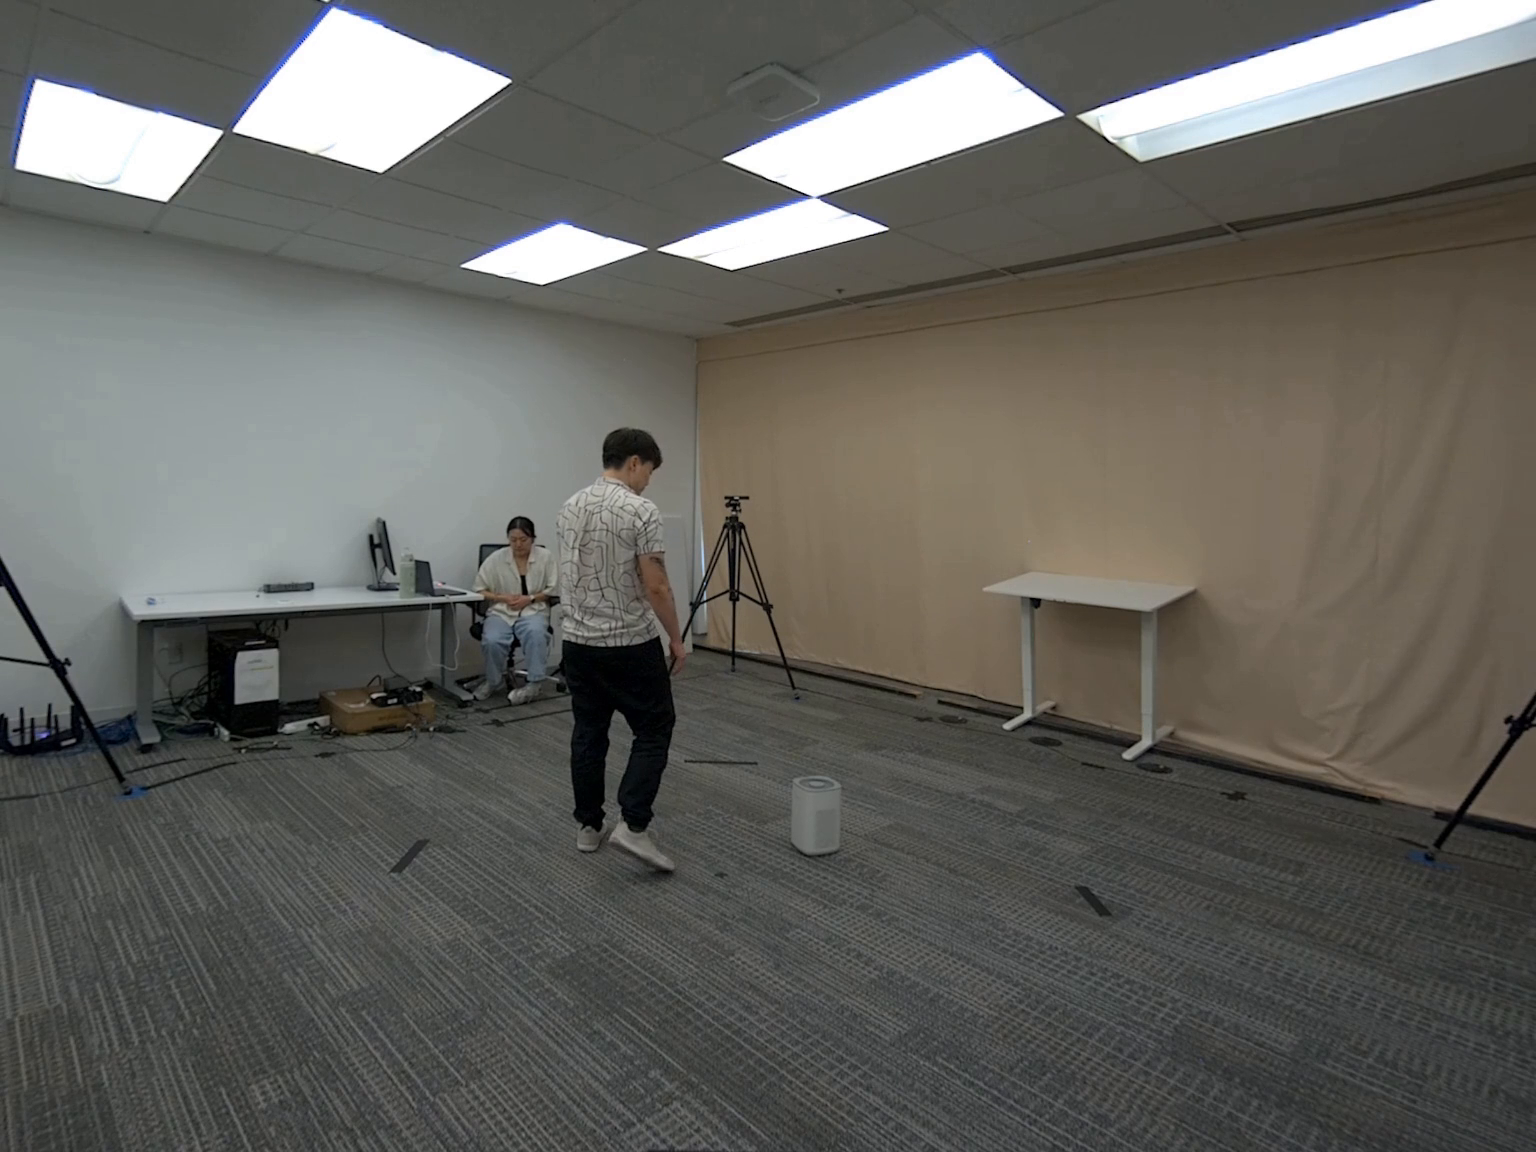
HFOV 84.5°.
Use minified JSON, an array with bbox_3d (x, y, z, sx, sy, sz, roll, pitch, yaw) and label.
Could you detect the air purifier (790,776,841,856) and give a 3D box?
[{"bbox_3d":[0.179,0.953,3.360,0.168,0.265,0.175,0,3,-25],"label":"air purifier"}]
